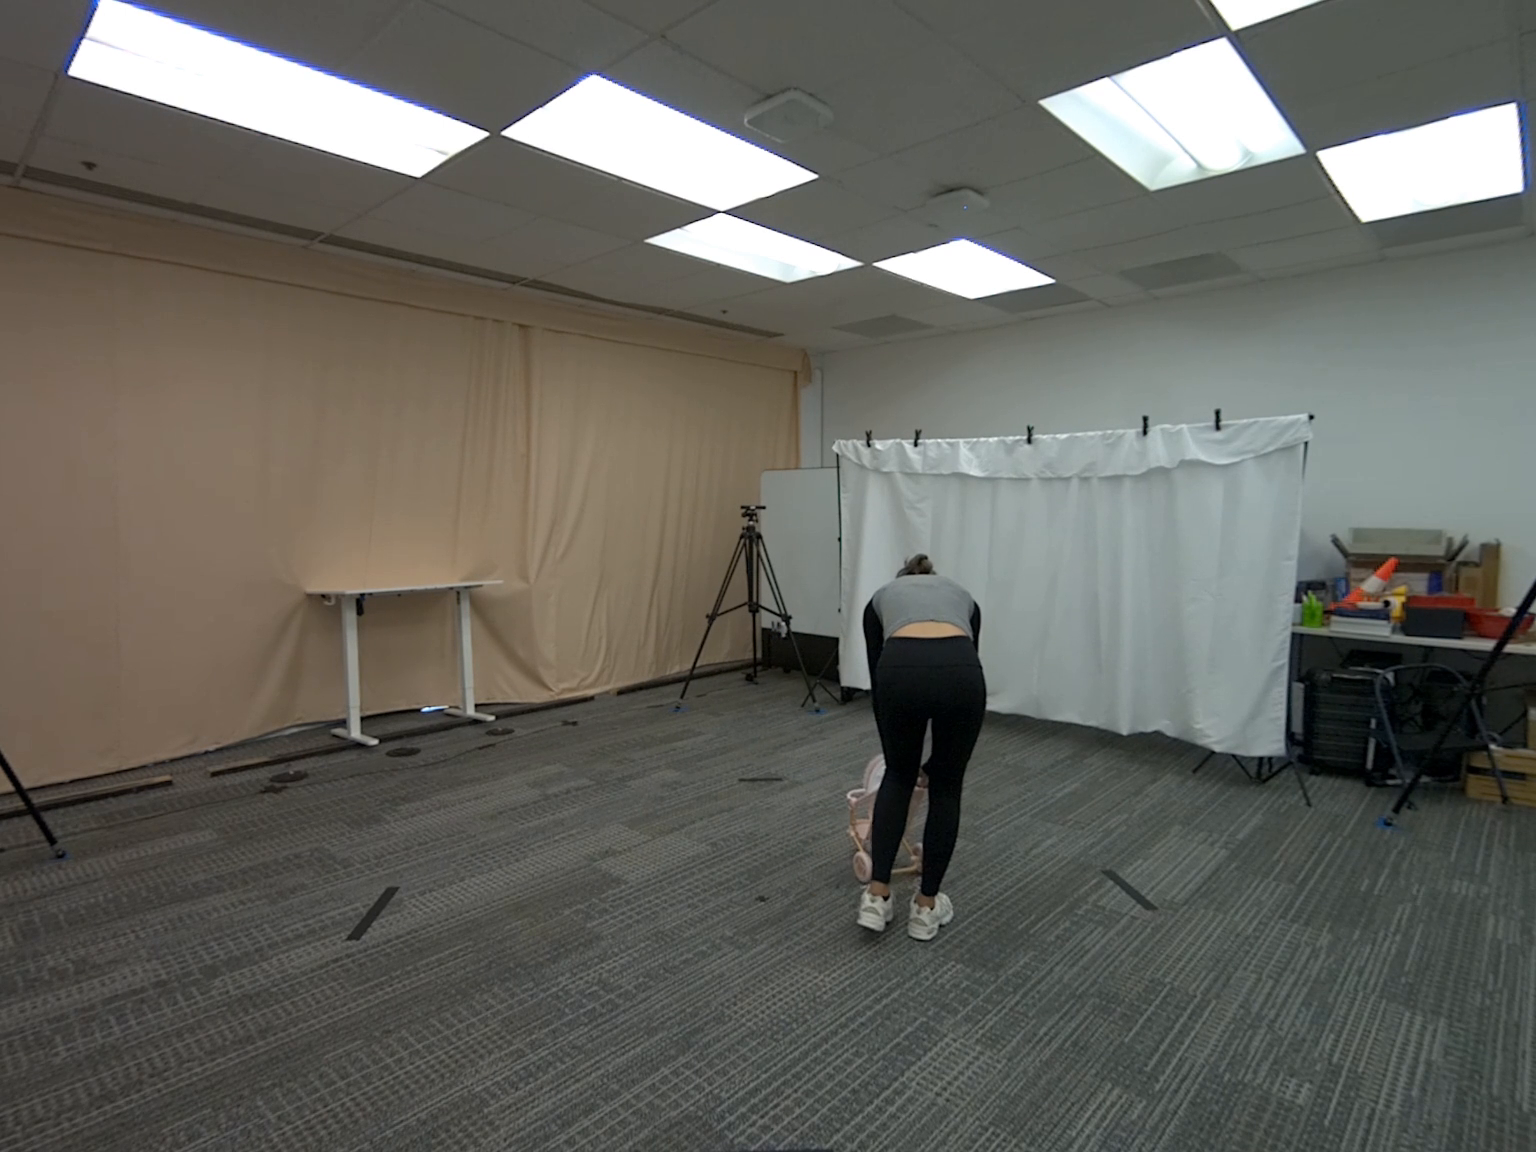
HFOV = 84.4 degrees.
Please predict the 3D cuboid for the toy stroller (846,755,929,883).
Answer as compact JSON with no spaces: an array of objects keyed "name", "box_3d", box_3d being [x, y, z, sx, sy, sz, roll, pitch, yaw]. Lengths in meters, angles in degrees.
[{"name":"toy stroller","box_3d":[0.449,0.897,3.205,0.277,0.530,0.350,1,19,-17]}]
